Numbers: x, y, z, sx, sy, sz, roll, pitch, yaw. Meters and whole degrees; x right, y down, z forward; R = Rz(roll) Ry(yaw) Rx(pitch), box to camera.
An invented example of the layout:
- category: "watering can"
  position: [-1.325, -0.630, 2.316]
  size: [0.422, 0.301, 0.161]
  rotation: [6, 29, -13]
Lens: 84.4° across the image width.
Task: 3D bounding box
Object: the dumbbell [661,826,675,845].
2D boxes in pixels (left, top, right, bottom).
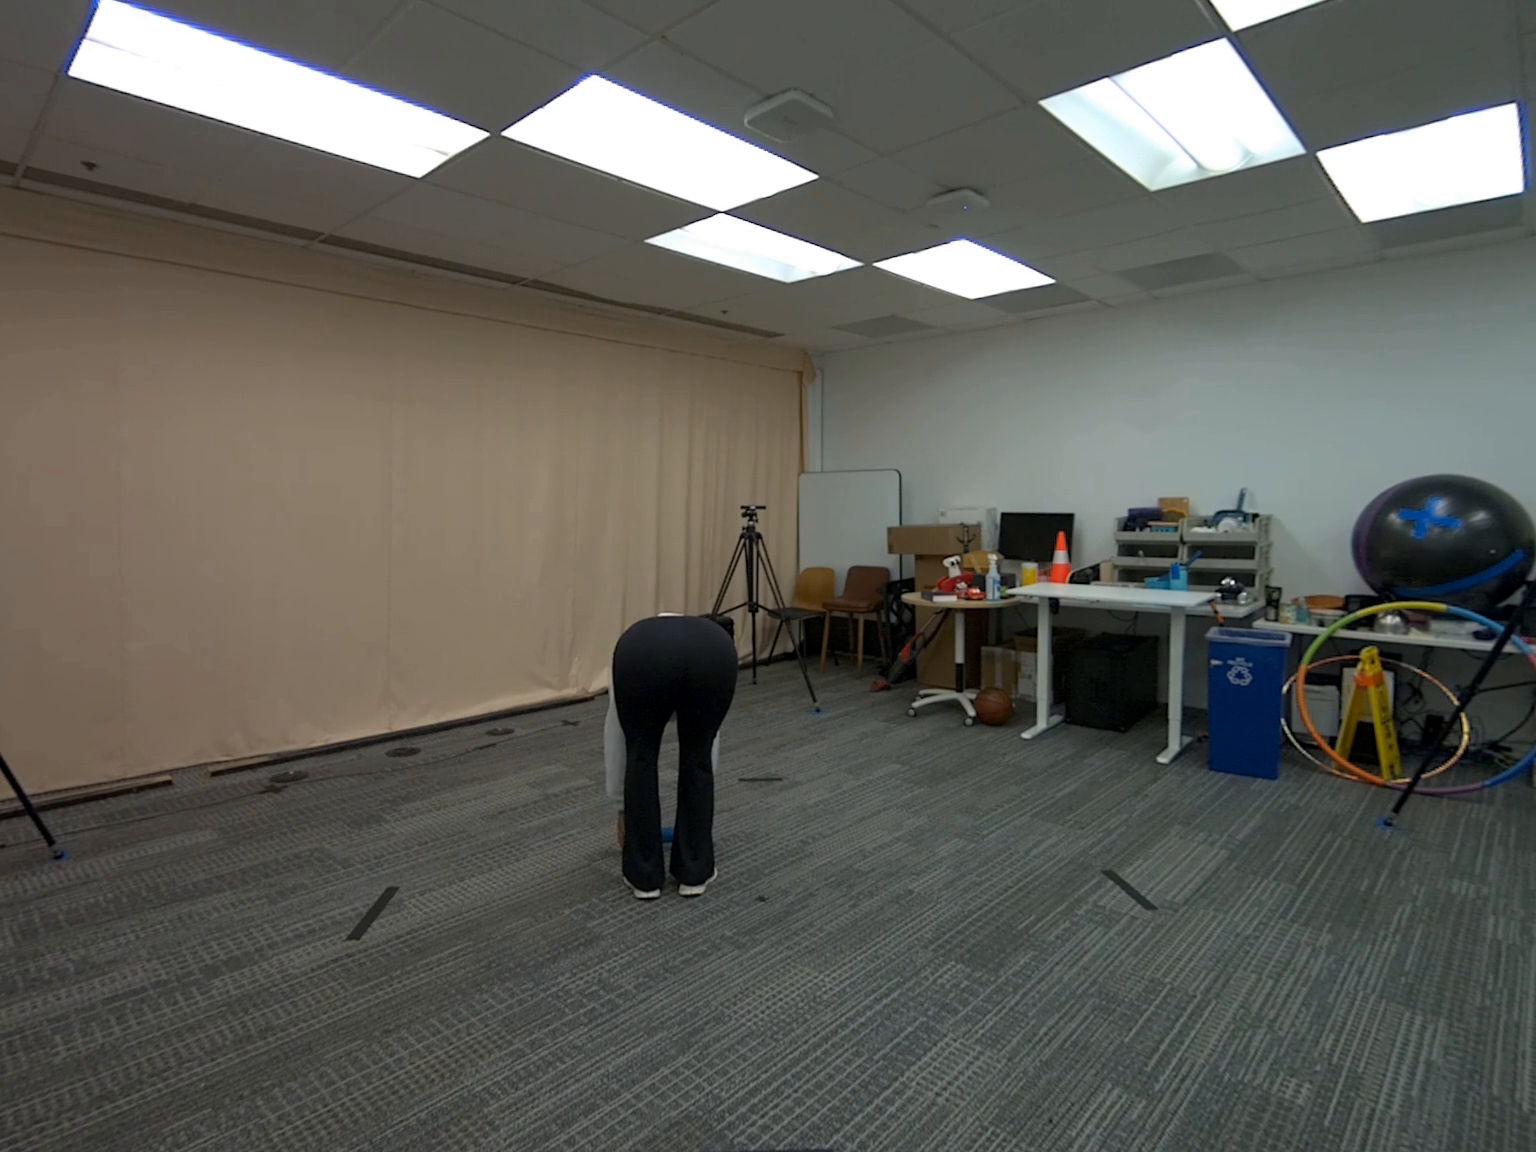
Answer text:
- category: "dumbbell"
  position: [-0.435, 1.050, 3.406]
  size: [0.290, 0.121, 0.111]
  rotation: [-4, 43, -10]
